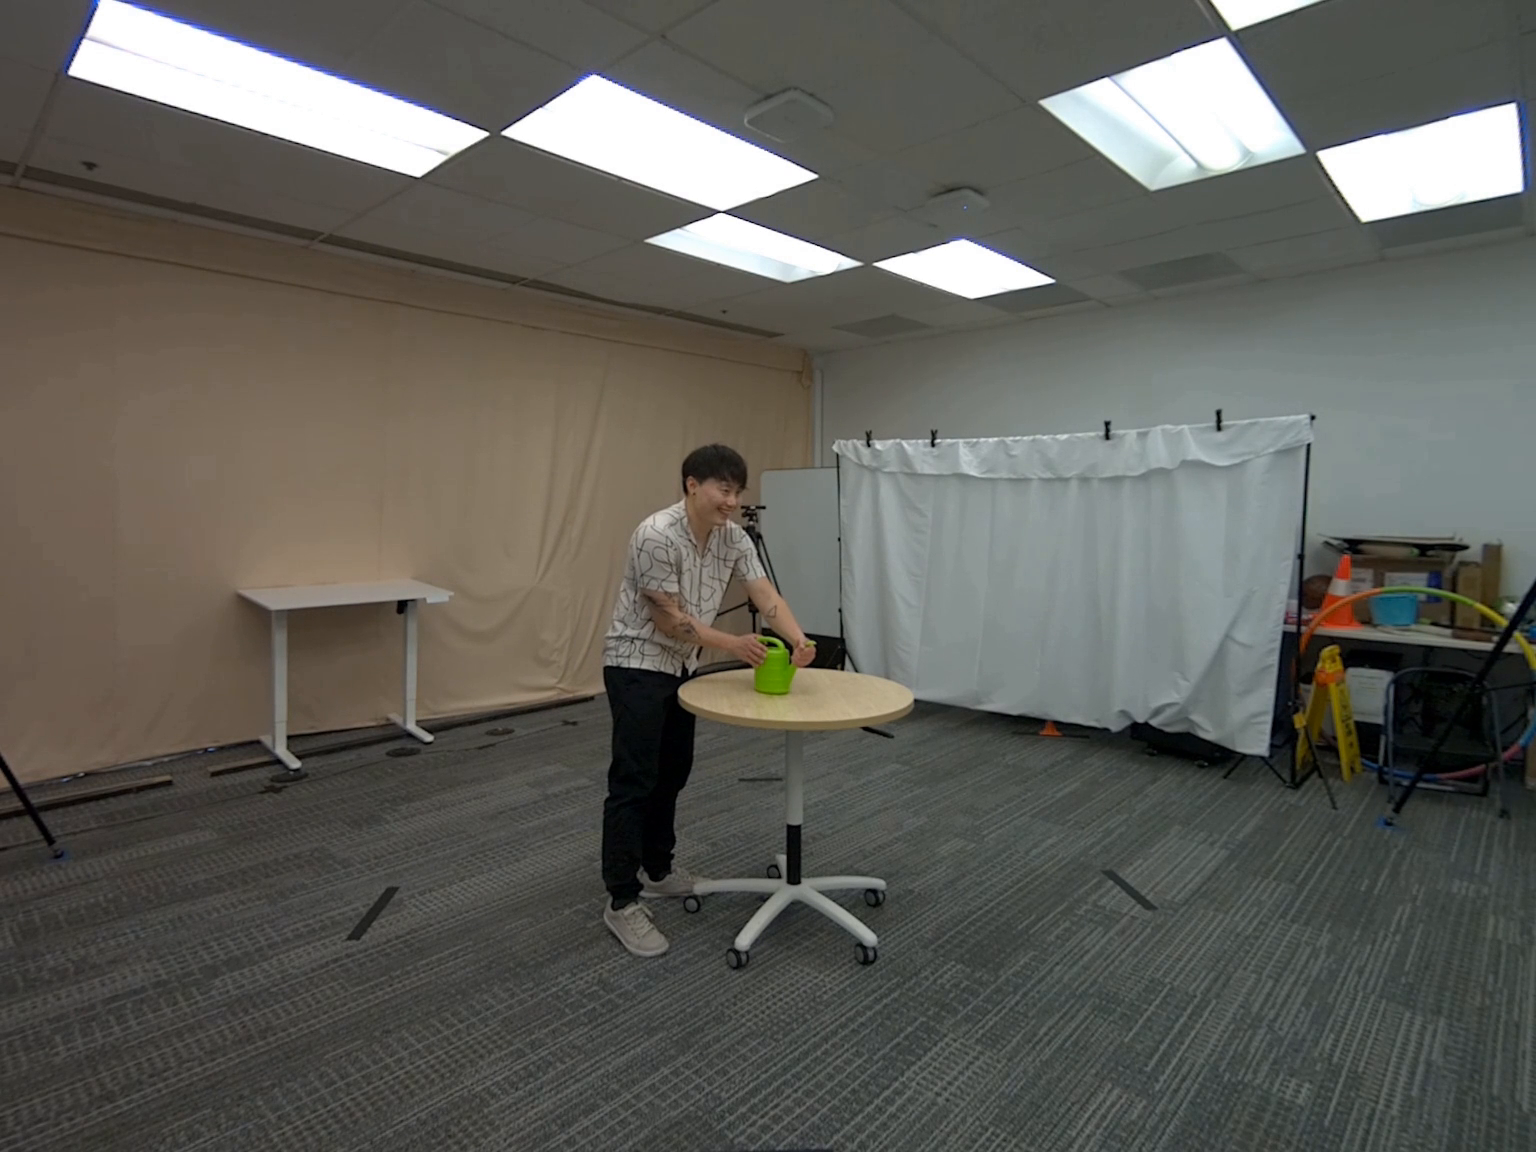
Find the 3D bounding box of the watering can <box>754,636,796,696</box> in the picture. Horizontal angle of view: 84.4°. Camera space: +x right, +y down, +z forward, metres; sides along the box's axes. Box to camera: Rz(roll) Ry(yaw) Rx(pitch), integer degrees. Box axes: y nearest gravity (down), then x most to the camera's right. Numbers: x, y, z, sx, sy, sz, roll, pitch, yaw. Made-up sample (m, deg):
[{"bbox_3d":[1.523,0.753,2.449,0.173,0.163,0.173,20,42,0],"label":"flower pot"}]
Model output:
[{"bbox_3d":[0.053,0.293,2.714,0.095,0.177,0.286,-1,0,-32],"label":"watering can"}]
